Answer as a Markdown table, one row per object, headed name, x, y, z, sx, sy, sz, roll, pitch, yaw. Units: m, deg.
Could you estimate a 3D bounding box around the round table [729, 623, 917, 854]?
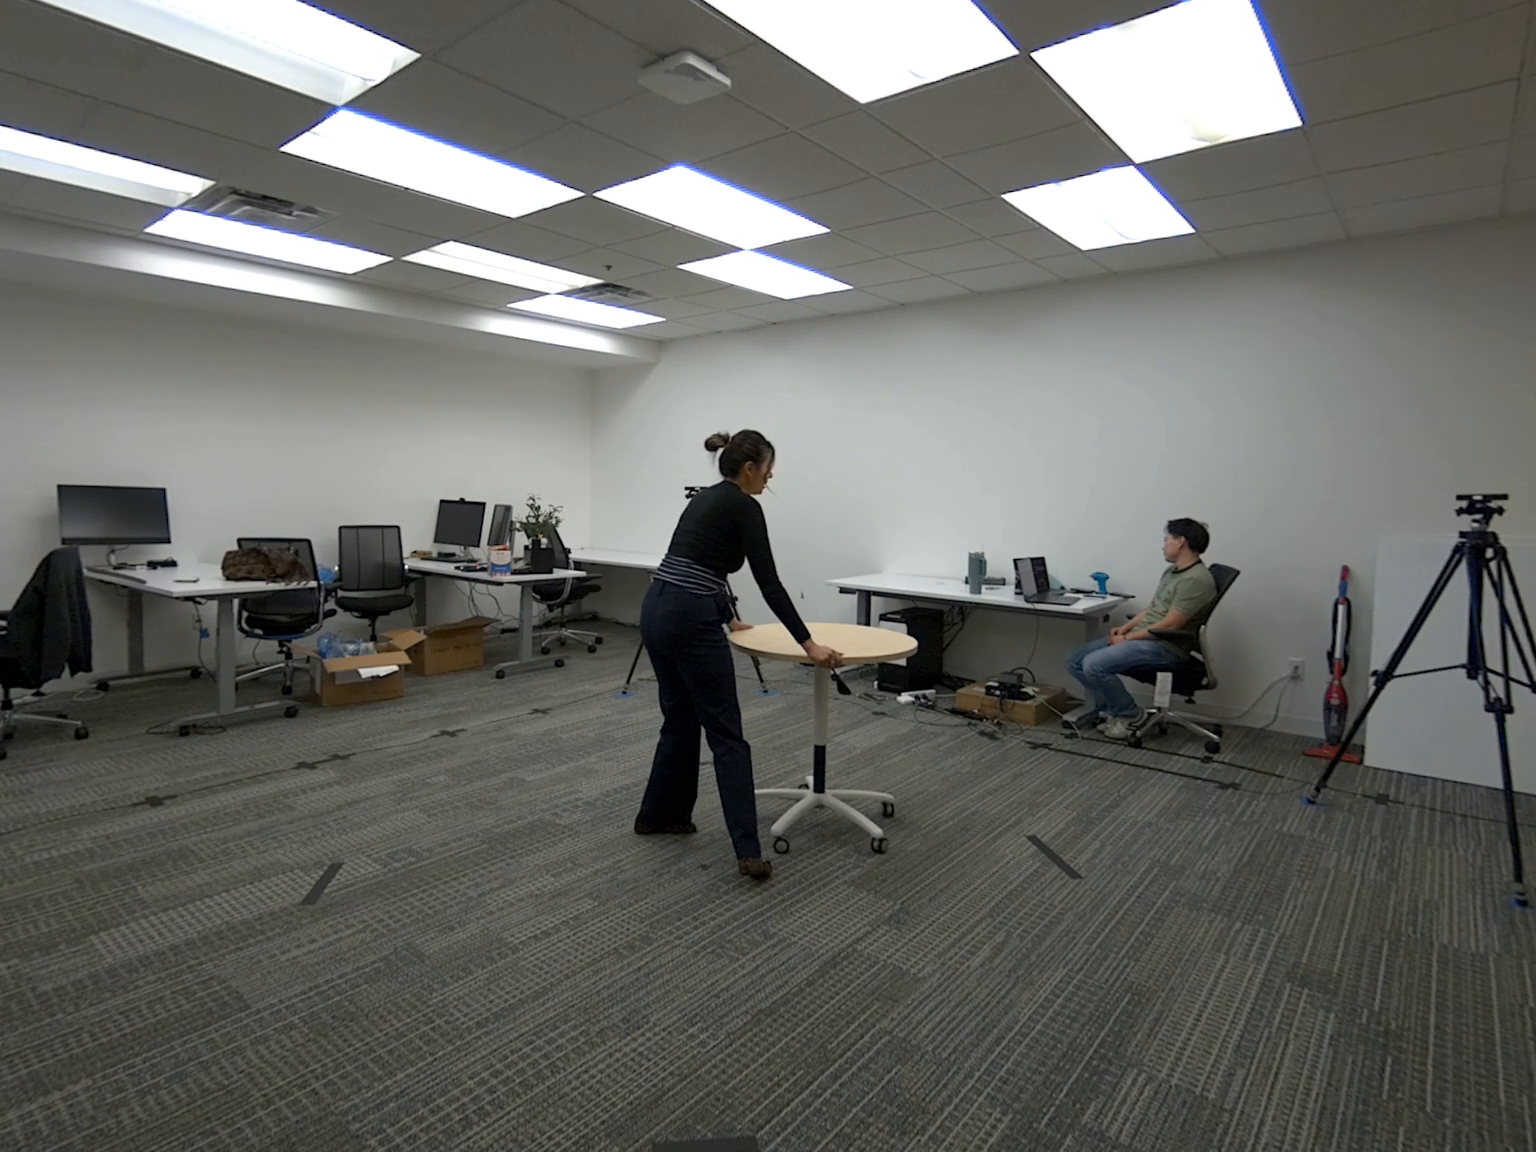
| name | x | y | z | sx | sy | sz | roll | pitch | yaw |
| --- | --- | --- | --- | --- | --- | --- | --- | --- | --- |
| round table | 0.199 | 0.645 | 3.510 | 0.763 | 0.791 | 0.768 | 1 | 5 | -2 |
